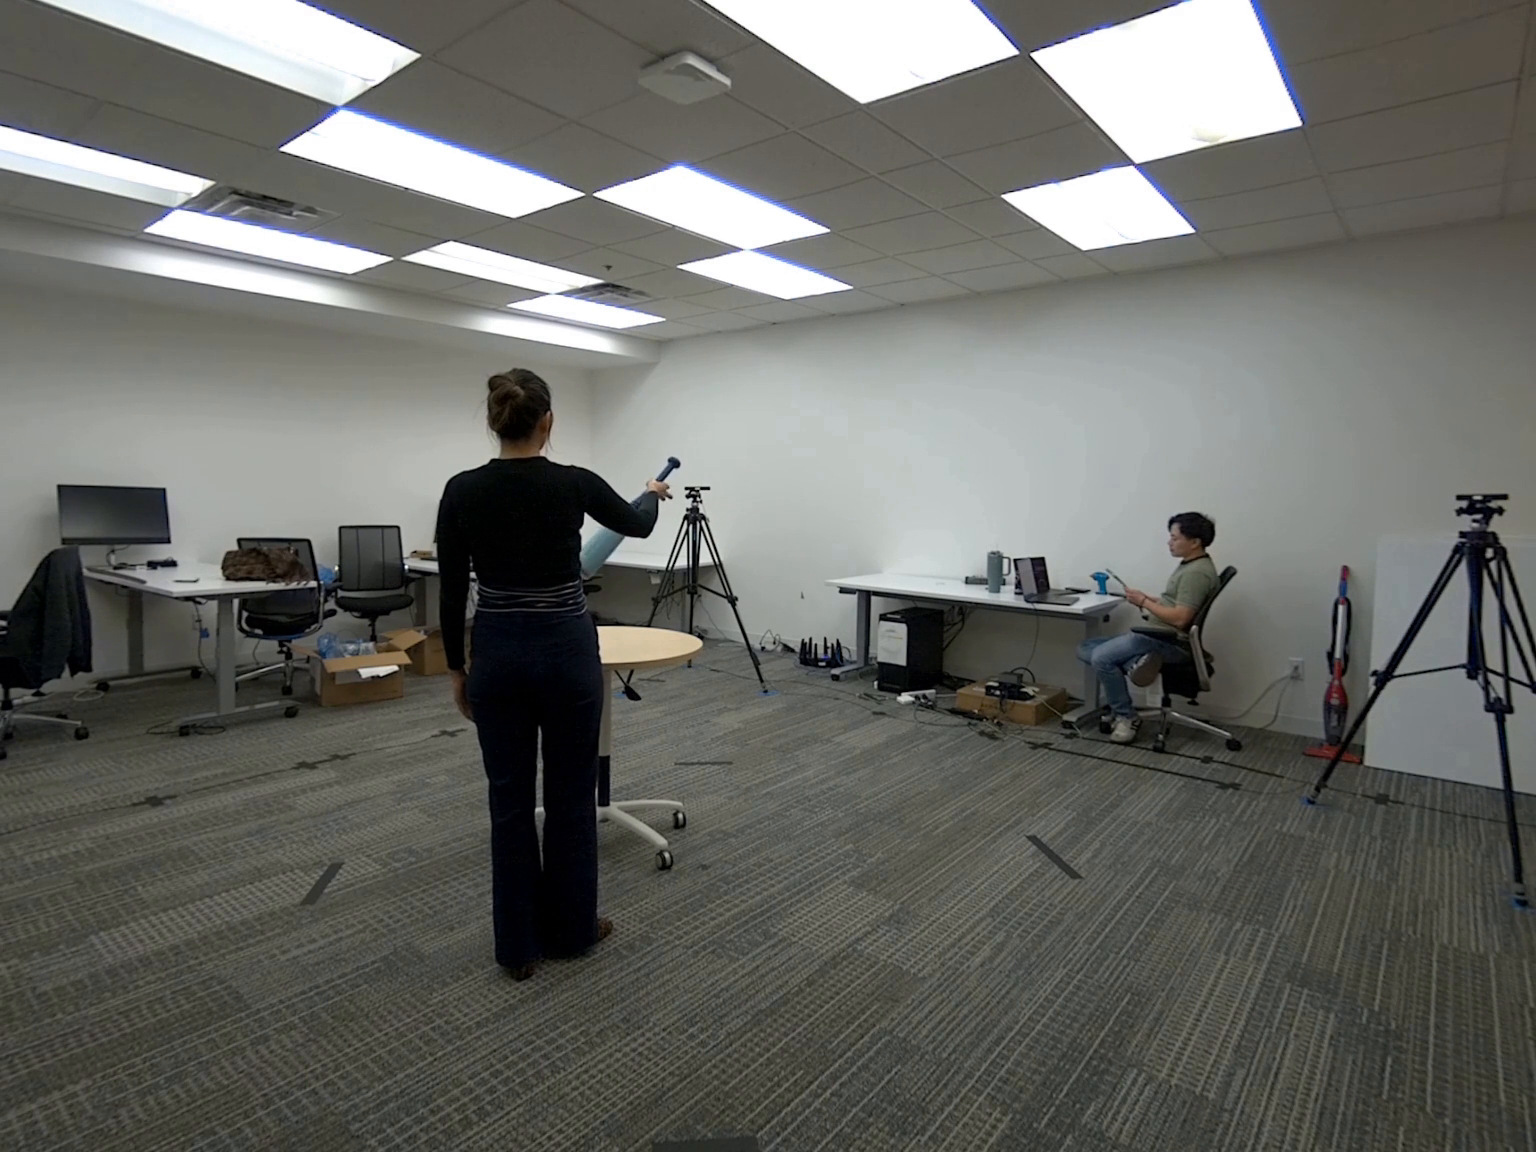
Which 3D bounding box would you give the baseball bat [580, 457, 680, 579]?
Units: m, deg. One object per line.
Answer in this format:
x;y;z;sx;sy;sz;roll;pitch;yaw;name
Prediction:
-0.470;-0.219;2.898;0.091;0.544;0.087;32;-23;13;baseball bat
